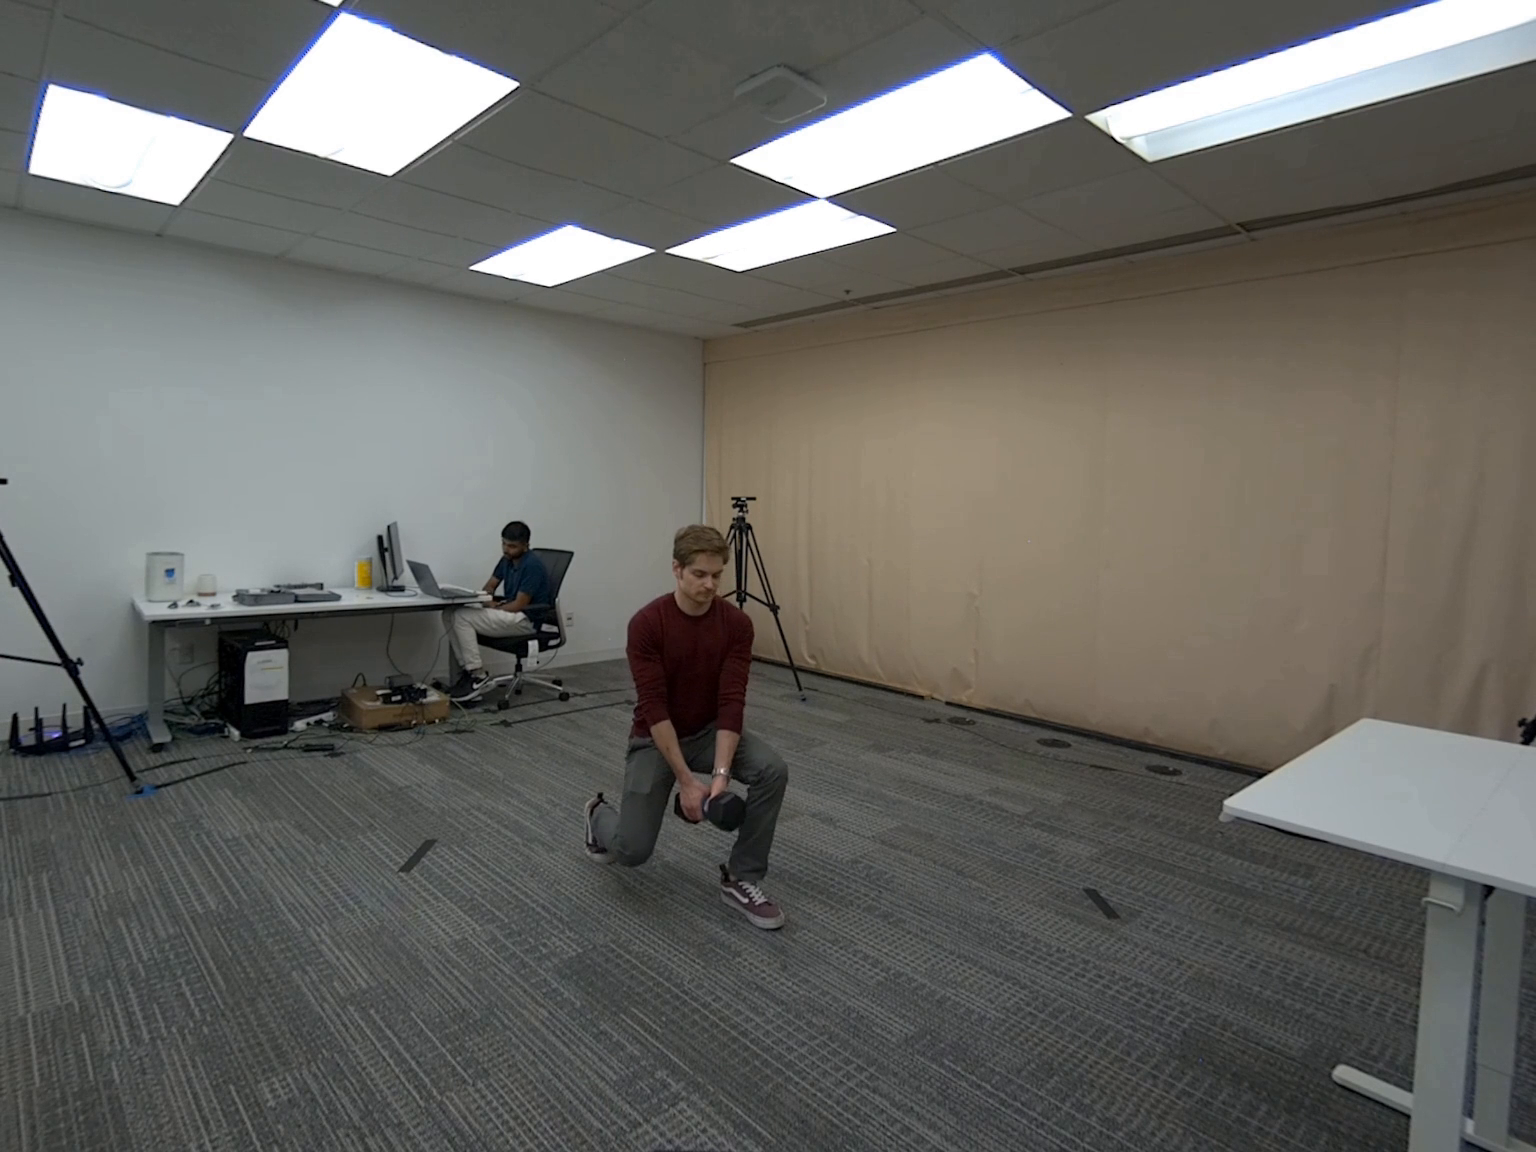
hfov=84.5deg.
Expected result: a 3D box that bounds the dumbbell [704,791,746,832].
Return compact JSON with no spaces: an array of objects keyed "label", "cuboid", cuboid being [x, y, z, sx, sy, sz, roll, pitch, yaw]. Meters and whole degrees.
[{"label":"dumbbell","cuboid":[-0.204,0.758,2.771,0.120,0.109,0.298,43,-28,-21]}]
